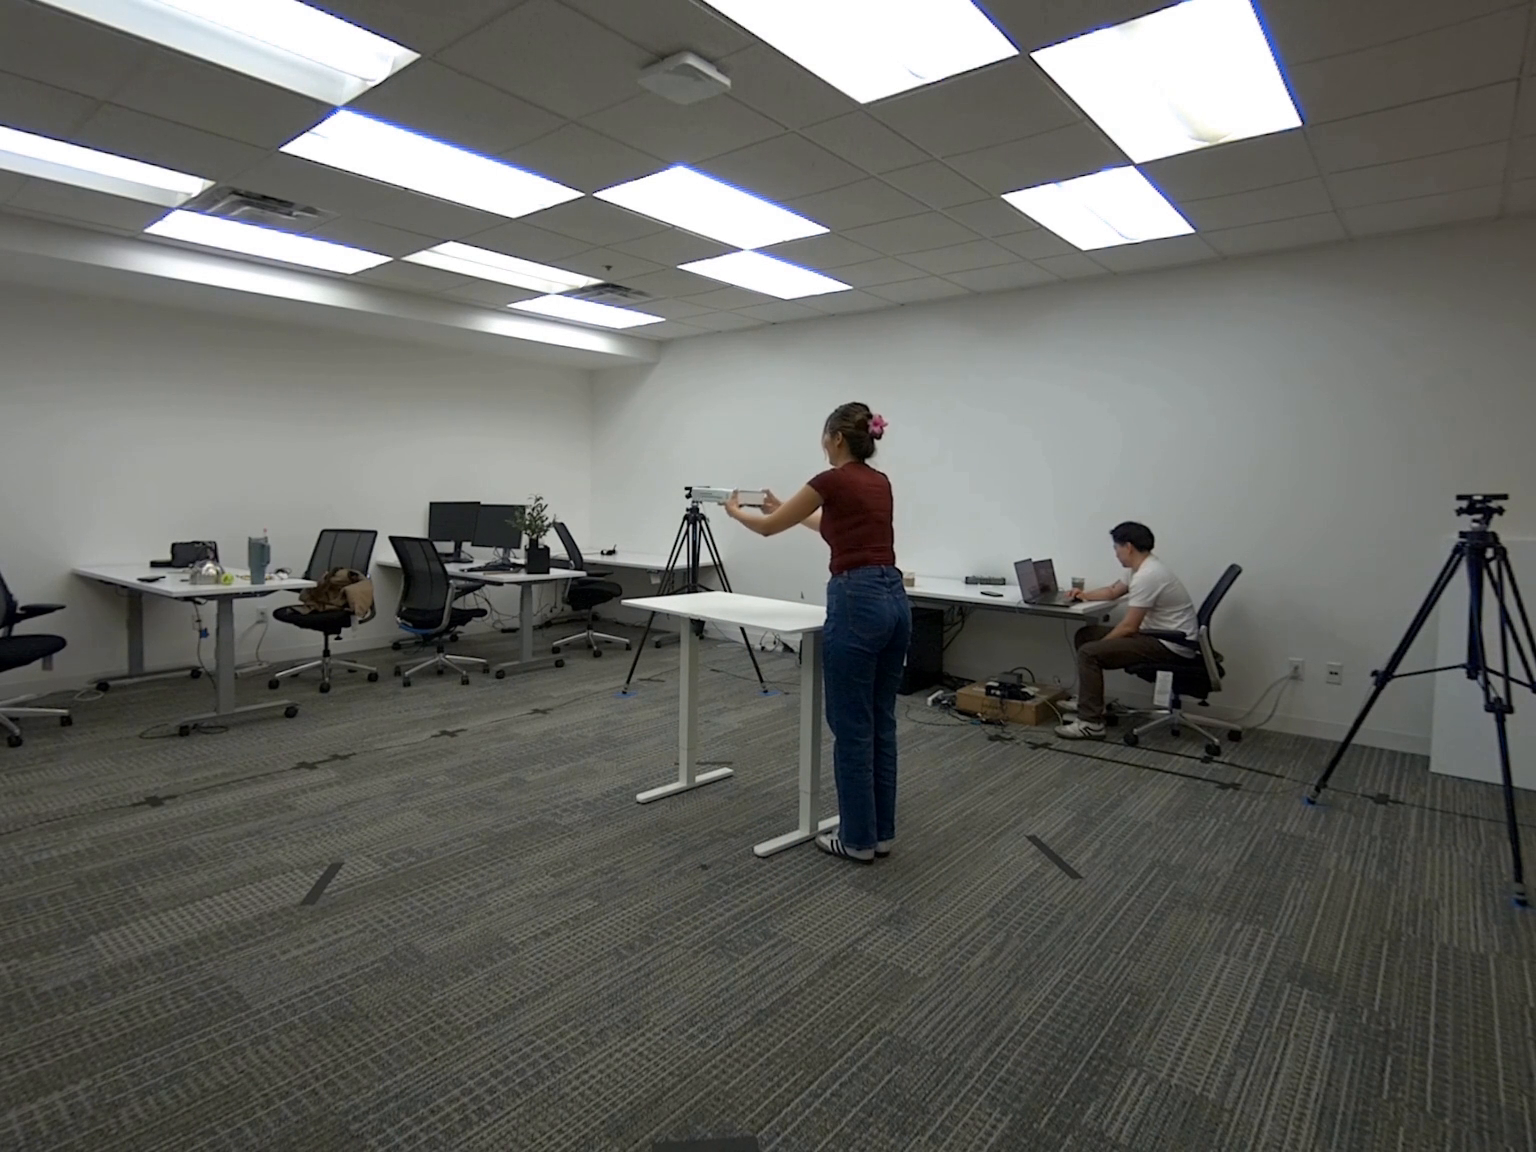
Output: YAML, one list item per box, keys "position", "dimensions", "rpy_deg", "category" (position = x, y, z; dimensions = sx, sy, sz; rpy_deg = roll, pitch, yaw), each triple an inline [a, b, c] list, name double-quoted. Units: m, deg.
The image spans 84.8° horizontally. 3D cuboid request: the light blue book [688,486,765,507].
- position: [-0.186, -0.347, 3.667]
  dimensions: [0.270, 0.059, 0.185]
  rpy_deg: [8, 7, 40]
  category: "light blue book"
